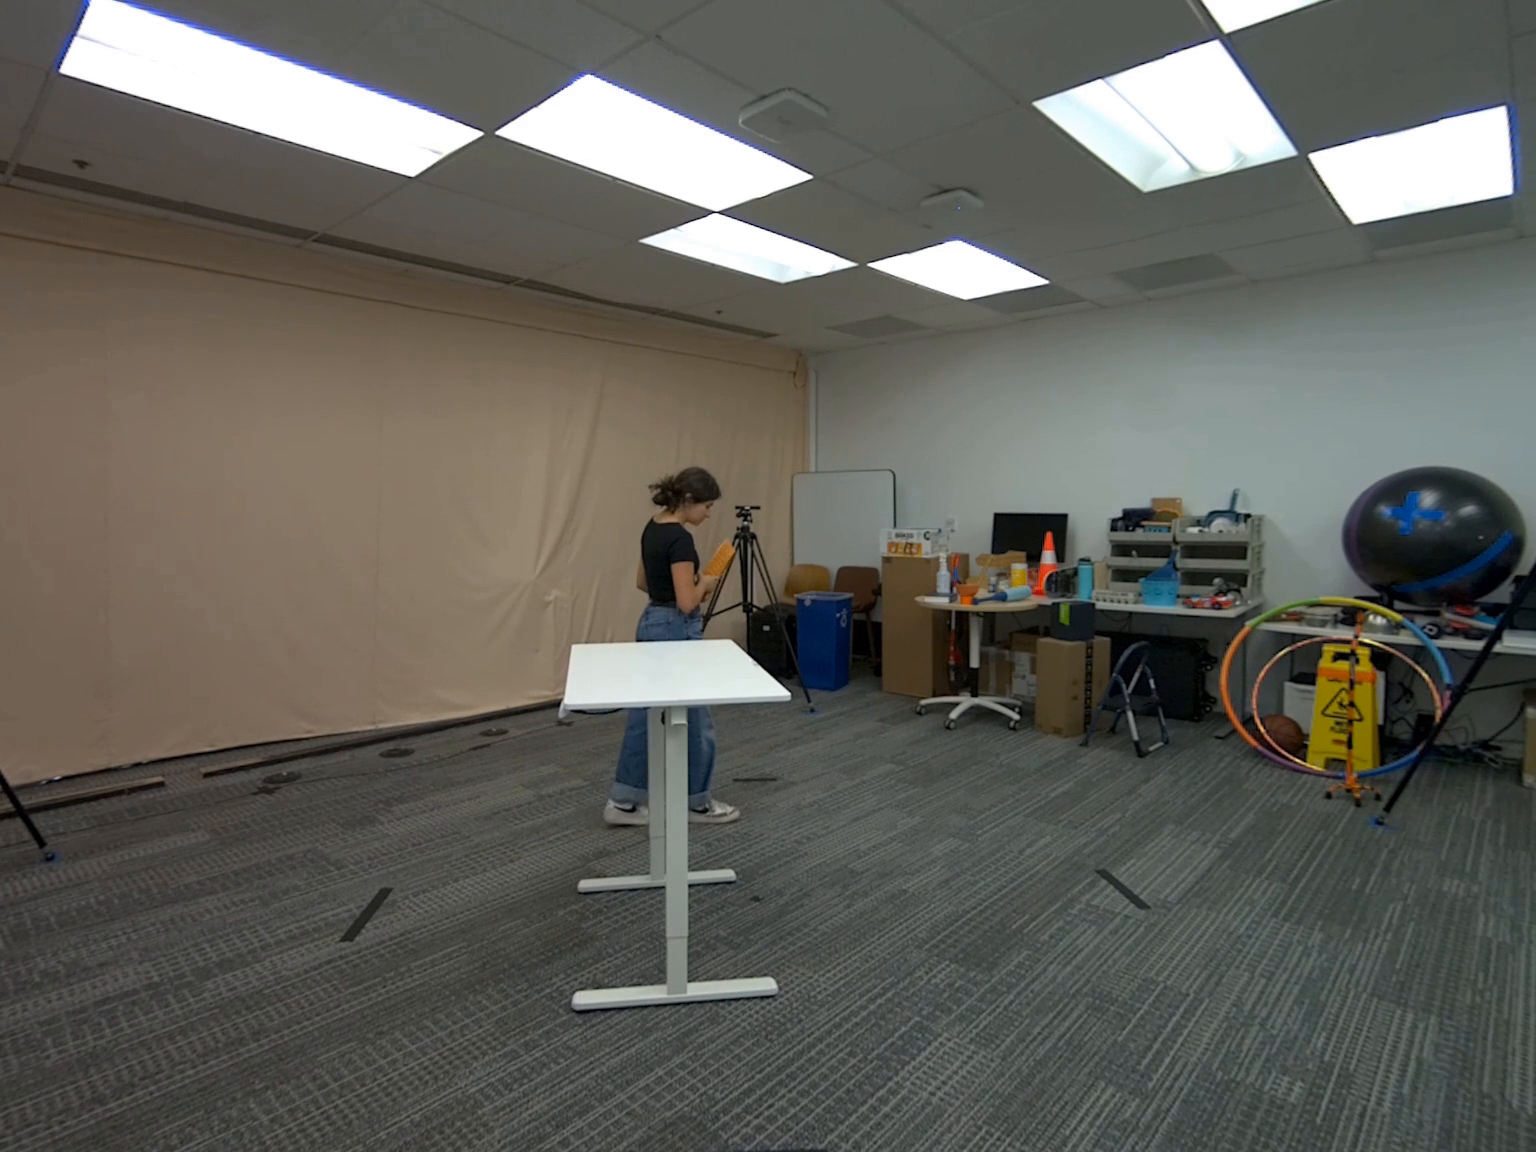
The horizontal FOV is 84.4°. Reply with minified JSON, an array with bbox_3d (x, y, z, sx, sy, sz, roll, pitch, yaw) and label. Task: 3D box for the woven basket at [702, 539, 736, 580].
[{"bbox_3d":[-0.252,-0.015,3.893,0.074,0.350,0.252,33,-24,1],"label":"woven basket"}]
